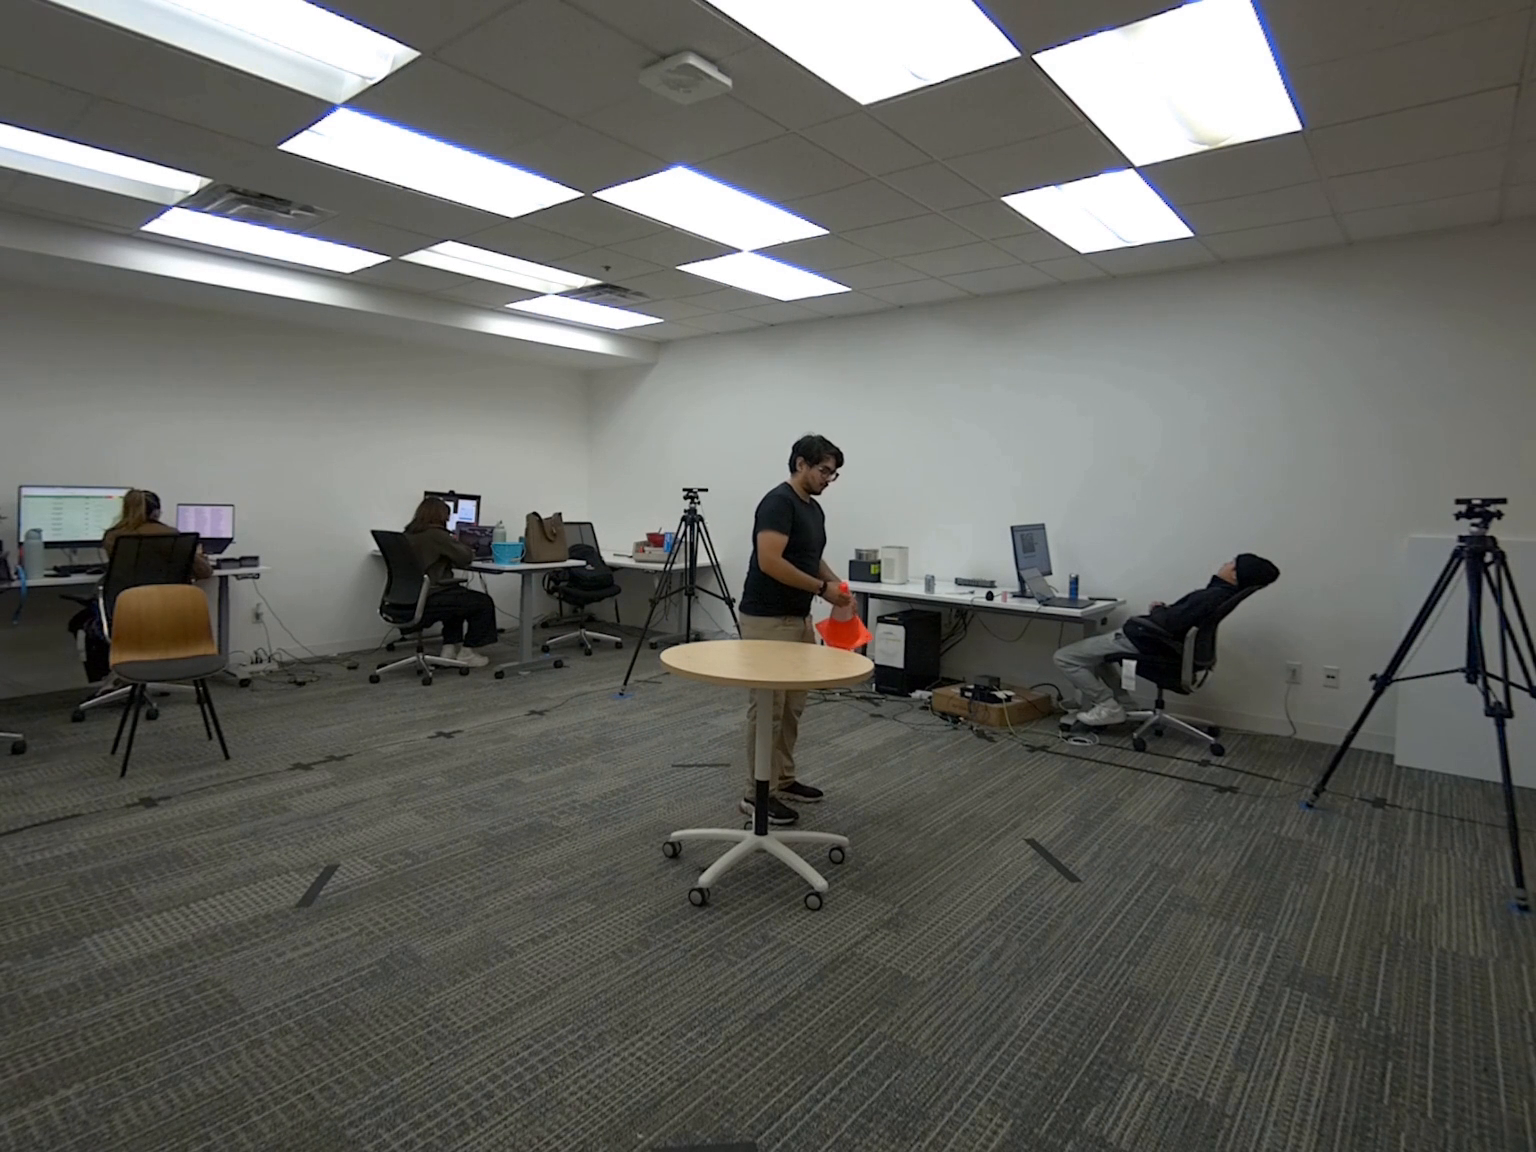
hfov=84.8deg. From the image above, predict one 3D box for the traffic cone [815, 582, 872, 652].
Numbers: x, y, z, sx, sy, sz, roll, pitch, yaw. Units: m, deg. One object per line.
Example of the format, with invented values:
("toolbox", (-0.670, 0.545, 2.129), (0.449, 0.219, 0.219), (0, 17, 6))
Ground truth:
("traffic cone", (0.313, 0.146, 3.734), (0.202, 0.213, 0.371), (-25, -34, -13))
